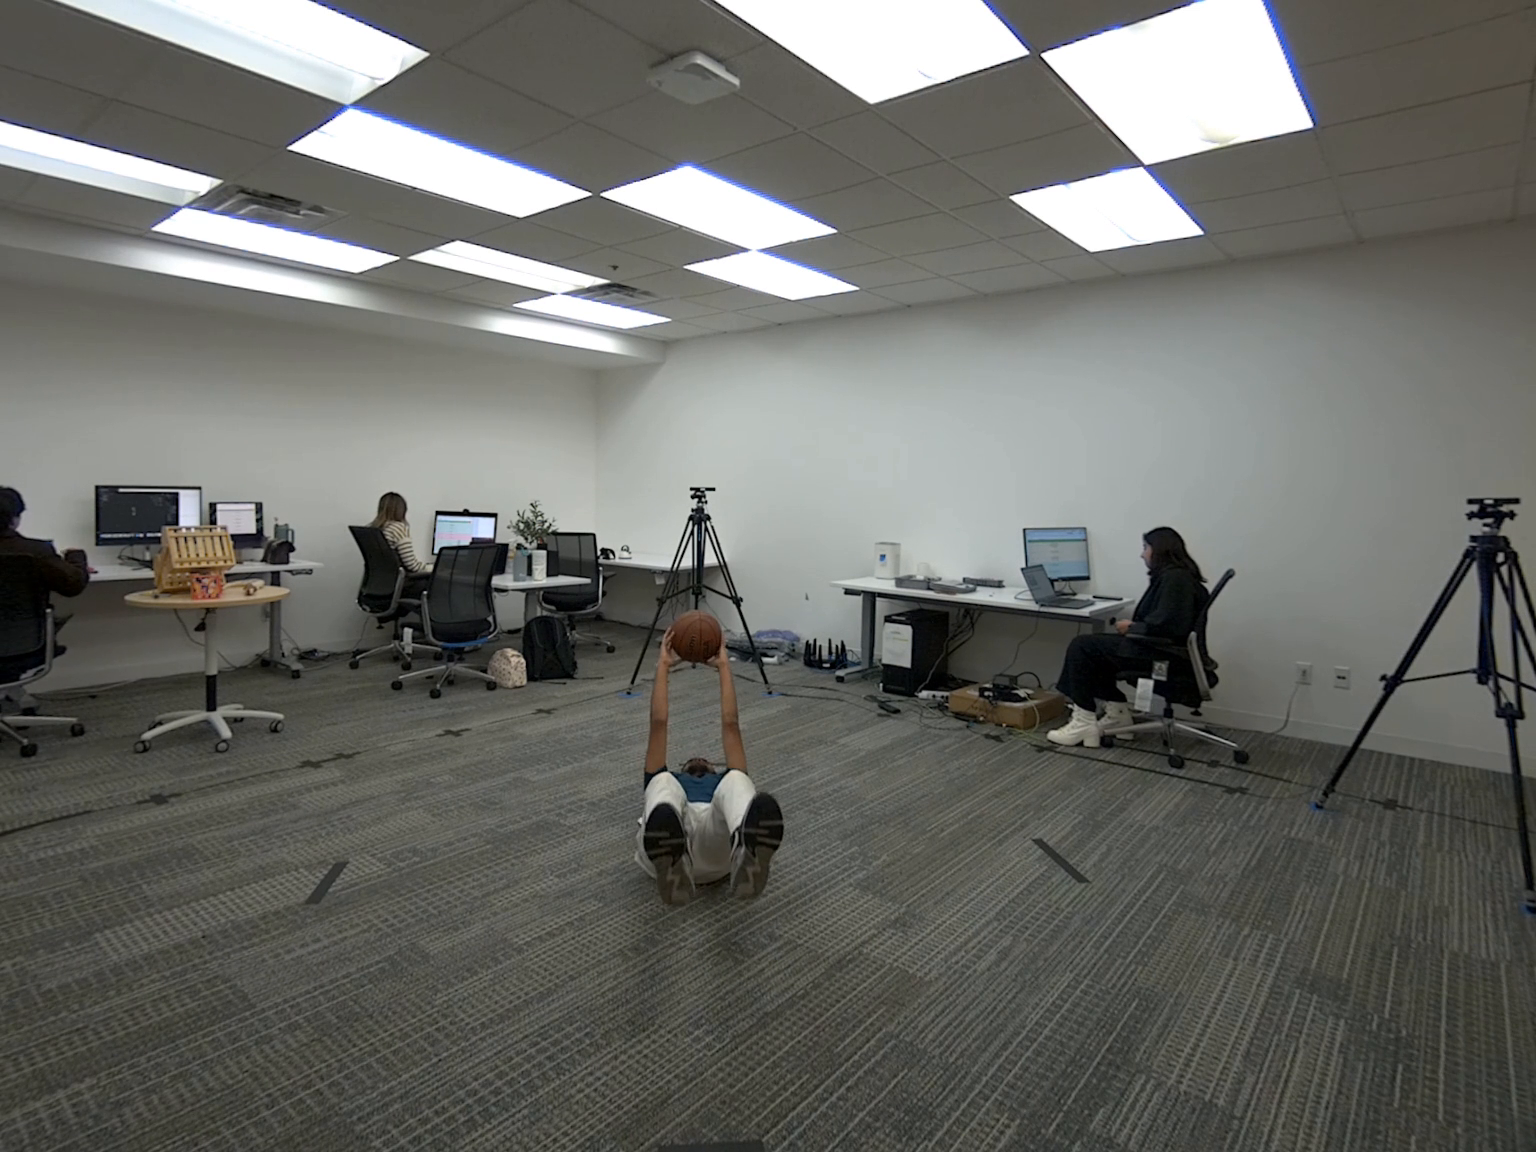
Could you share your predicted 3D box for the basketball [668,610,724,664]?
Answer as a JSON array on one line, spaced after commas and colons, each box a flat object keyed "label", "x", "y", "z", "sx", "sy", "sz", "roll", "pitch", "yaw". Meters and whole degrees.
[{"label": "basketball", "x": -0.339, "y": 0.273, "z": 3.867, "sx": 0.235, "sy": 0.235, "sz": 0.237, "roll": 1, "pitch": 4, "yaw": -2}]
